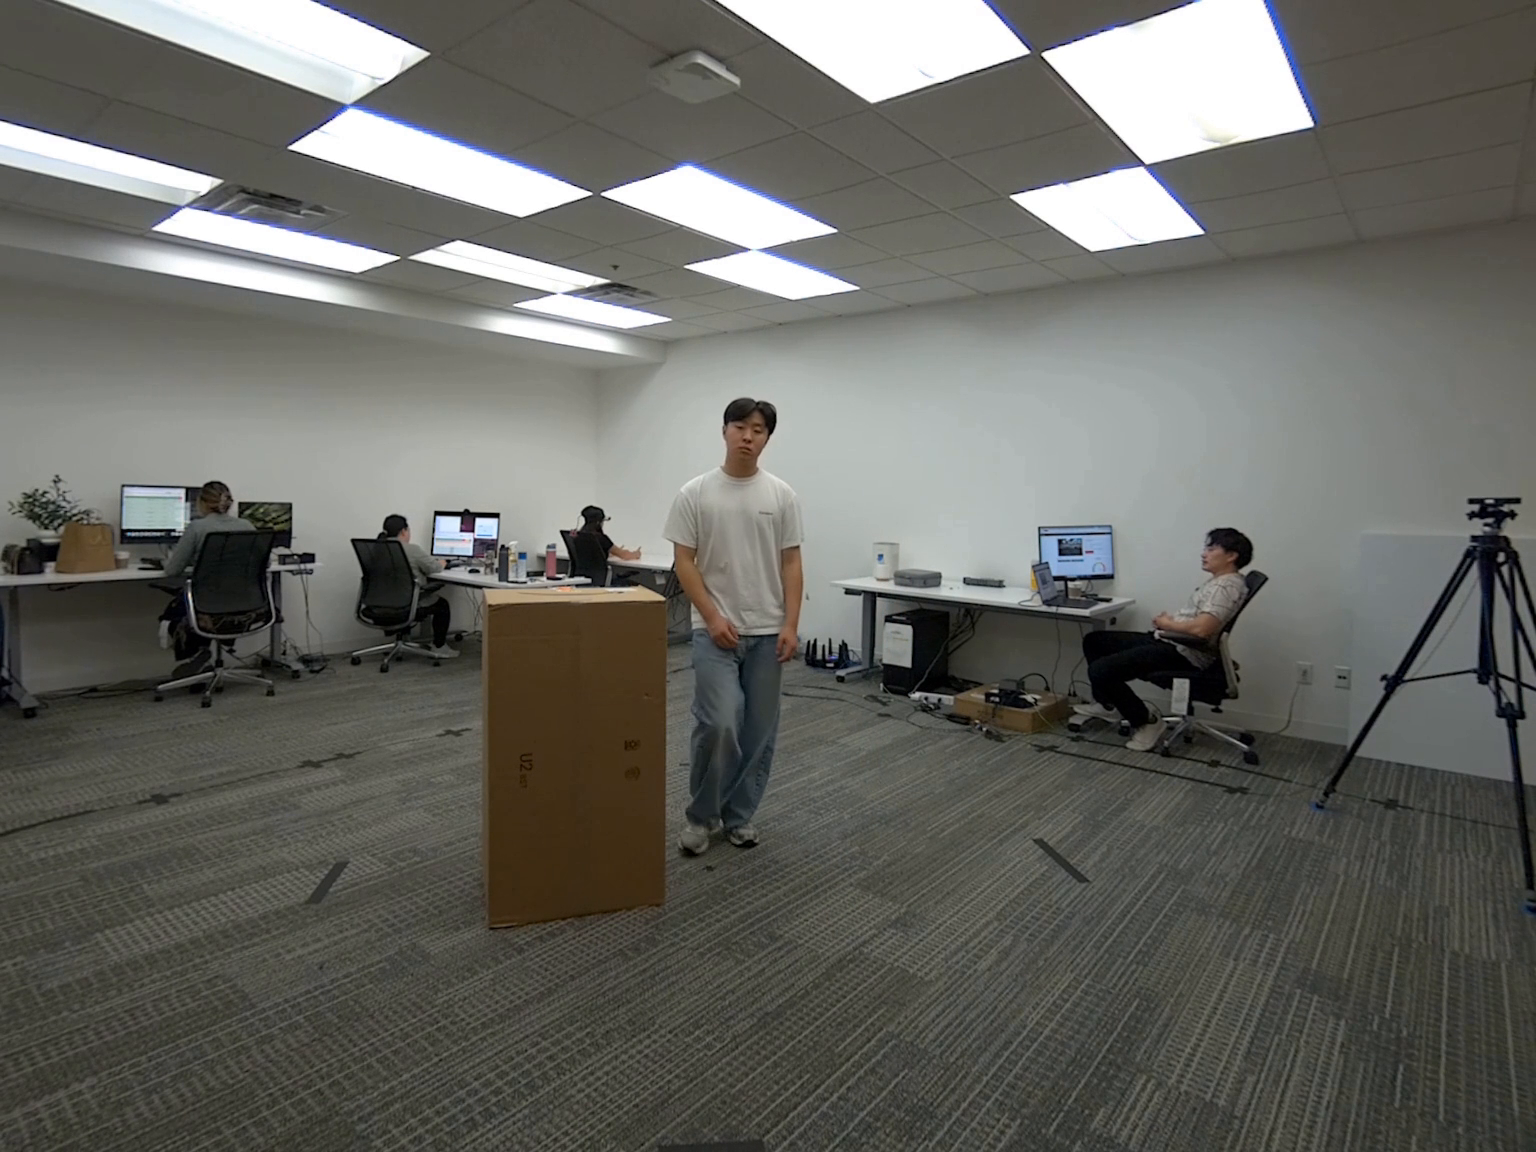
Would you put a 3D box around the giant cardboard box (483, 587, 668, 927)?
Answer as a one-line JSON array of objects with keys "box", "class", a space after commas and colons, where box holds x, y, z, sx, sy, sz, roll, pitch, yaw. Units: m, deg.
[{"box": [-0.687, 0.568, 2.911, 0.566, 1.023, 0.436, -1, 3, -20], "class": "giant cardboard box"}]
